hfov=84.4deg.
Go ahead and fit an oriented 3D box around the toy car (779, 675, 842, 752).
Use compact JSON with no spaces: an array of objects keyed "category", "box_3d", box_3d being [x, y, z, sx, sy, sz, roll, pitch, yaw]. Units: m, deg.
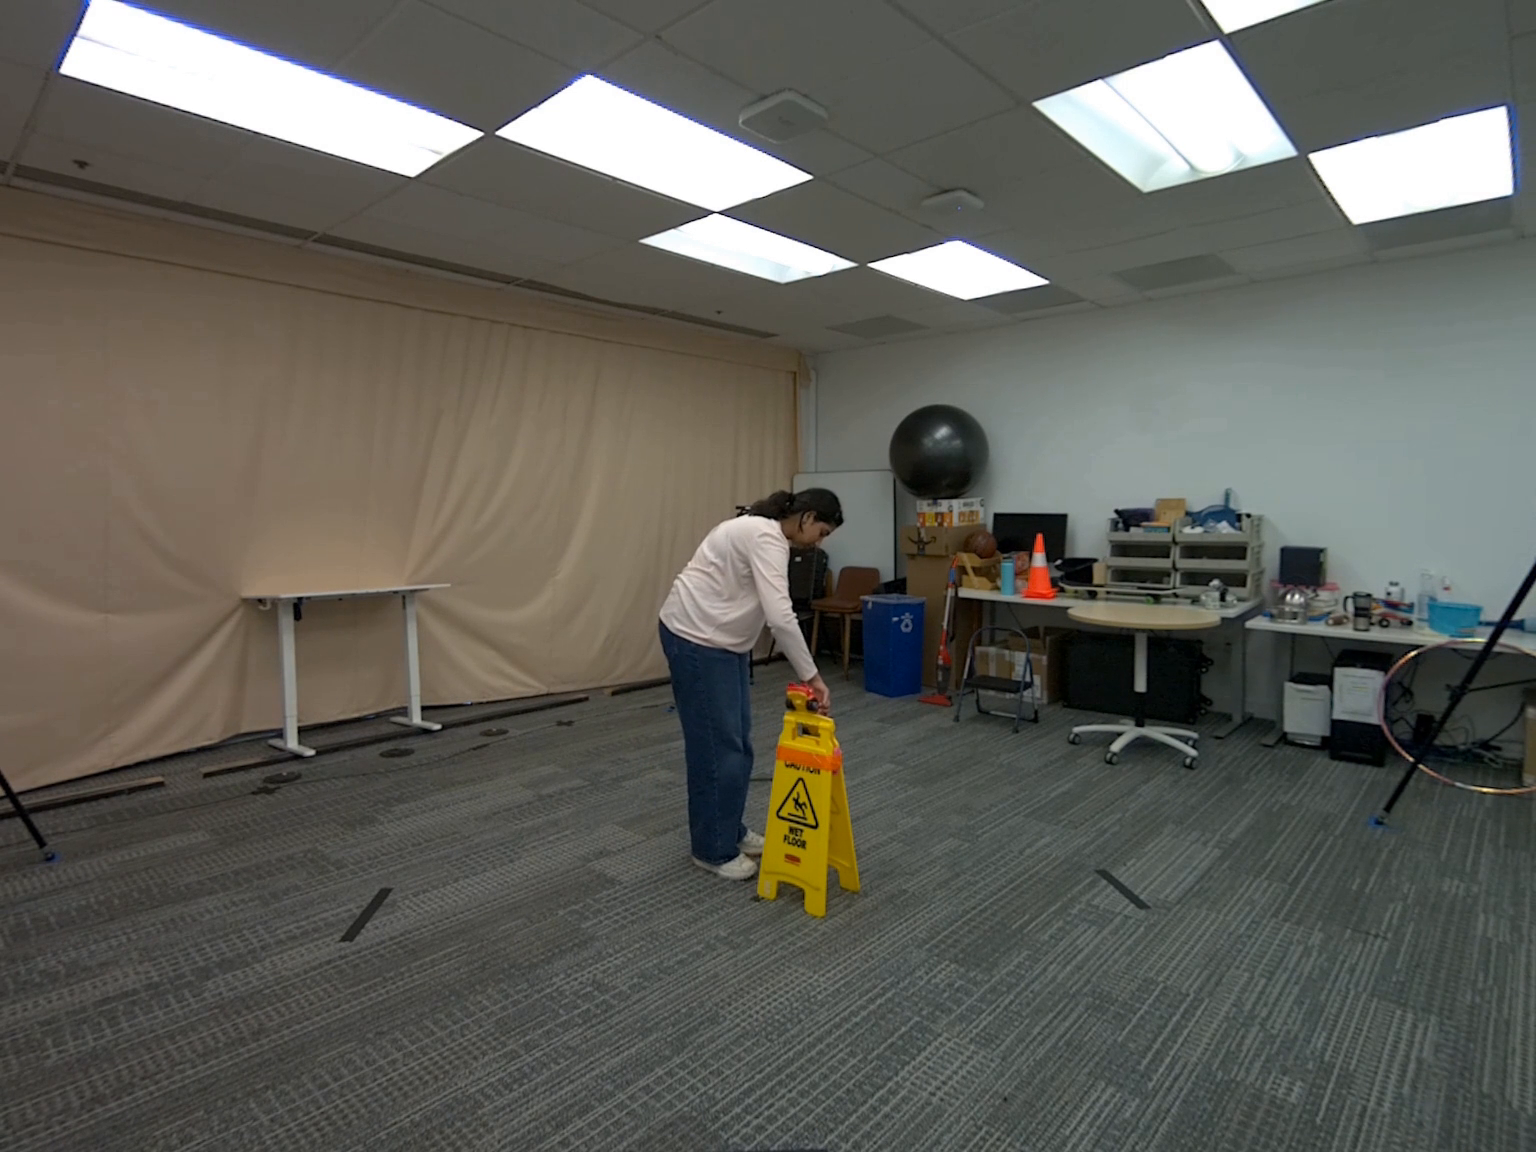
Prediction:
[{"category":"toy car","box_3d":[0.152,0.489,3.033,0.134,0.250,0.082,-4,23,41]}]
